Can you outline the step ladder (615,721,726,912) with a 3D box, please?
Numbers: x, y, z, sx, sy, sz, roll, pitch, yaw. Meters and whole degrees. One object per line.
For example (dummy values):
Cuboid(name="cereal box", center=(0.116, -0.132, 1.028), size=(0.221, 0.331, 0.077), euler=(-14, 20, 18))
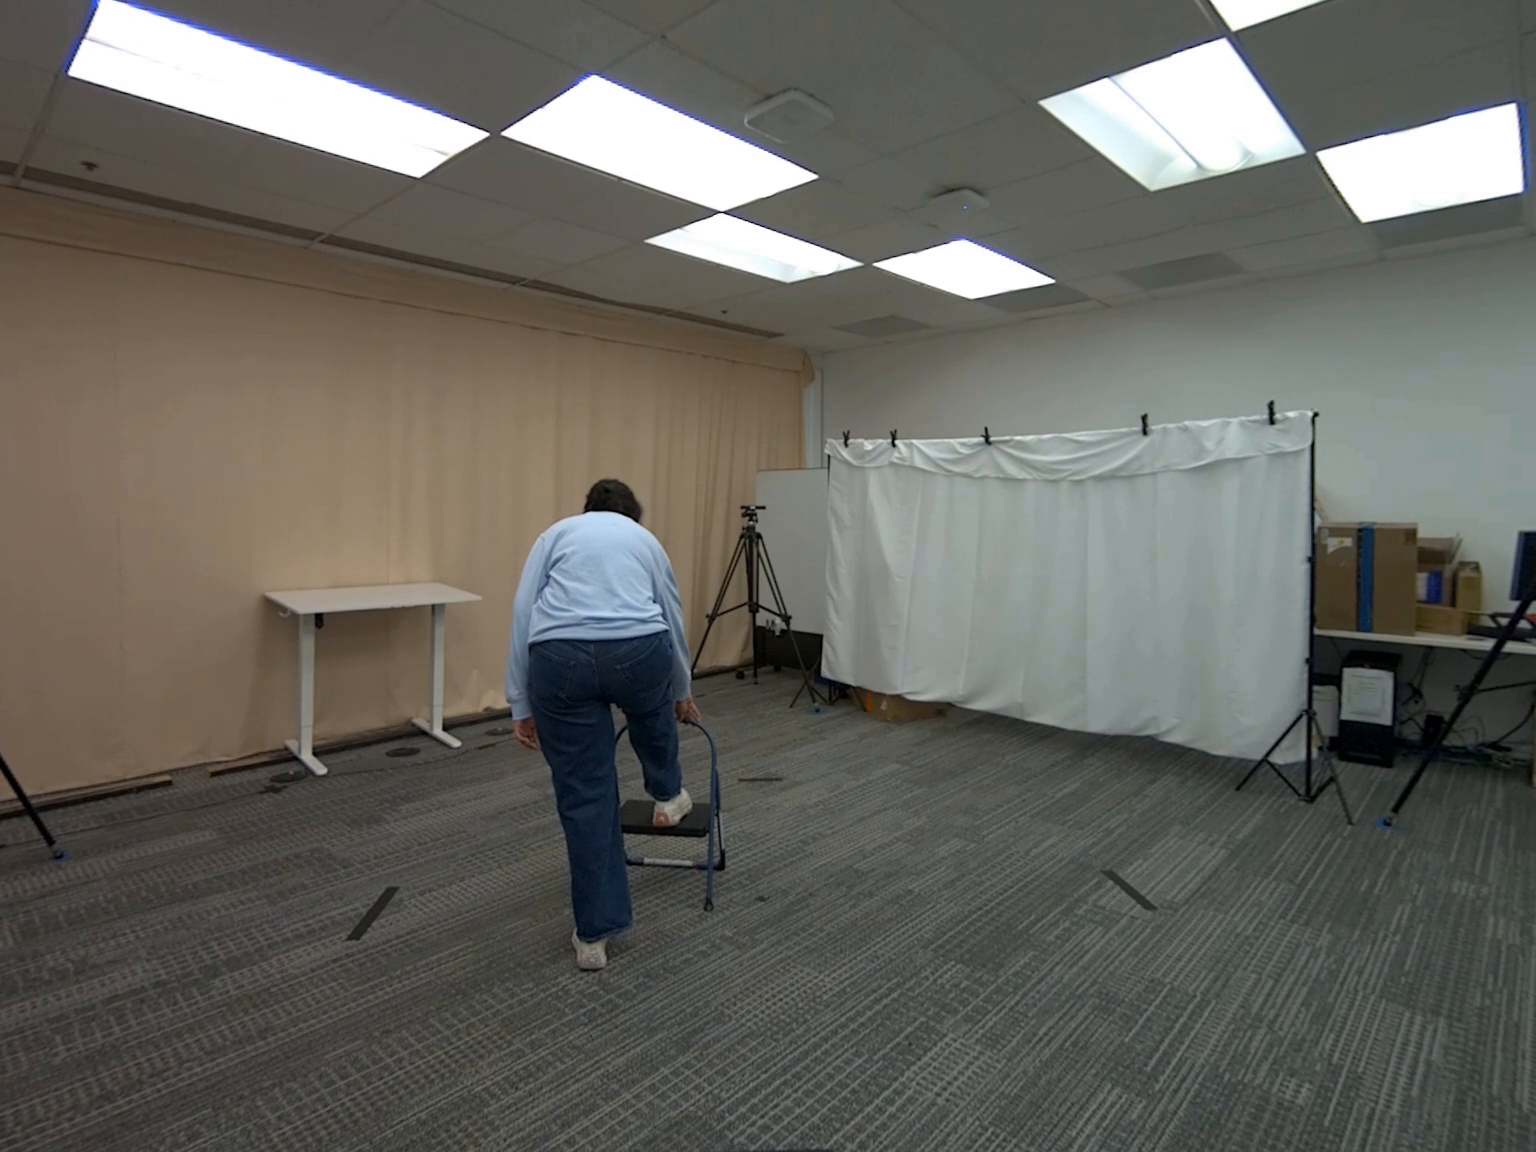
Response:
Cuboid(name="step ladder", center=(-0.383, 0.838, 3.086), size=(0.435, 0.605, 0.346), euler=(0, 3, 8))
